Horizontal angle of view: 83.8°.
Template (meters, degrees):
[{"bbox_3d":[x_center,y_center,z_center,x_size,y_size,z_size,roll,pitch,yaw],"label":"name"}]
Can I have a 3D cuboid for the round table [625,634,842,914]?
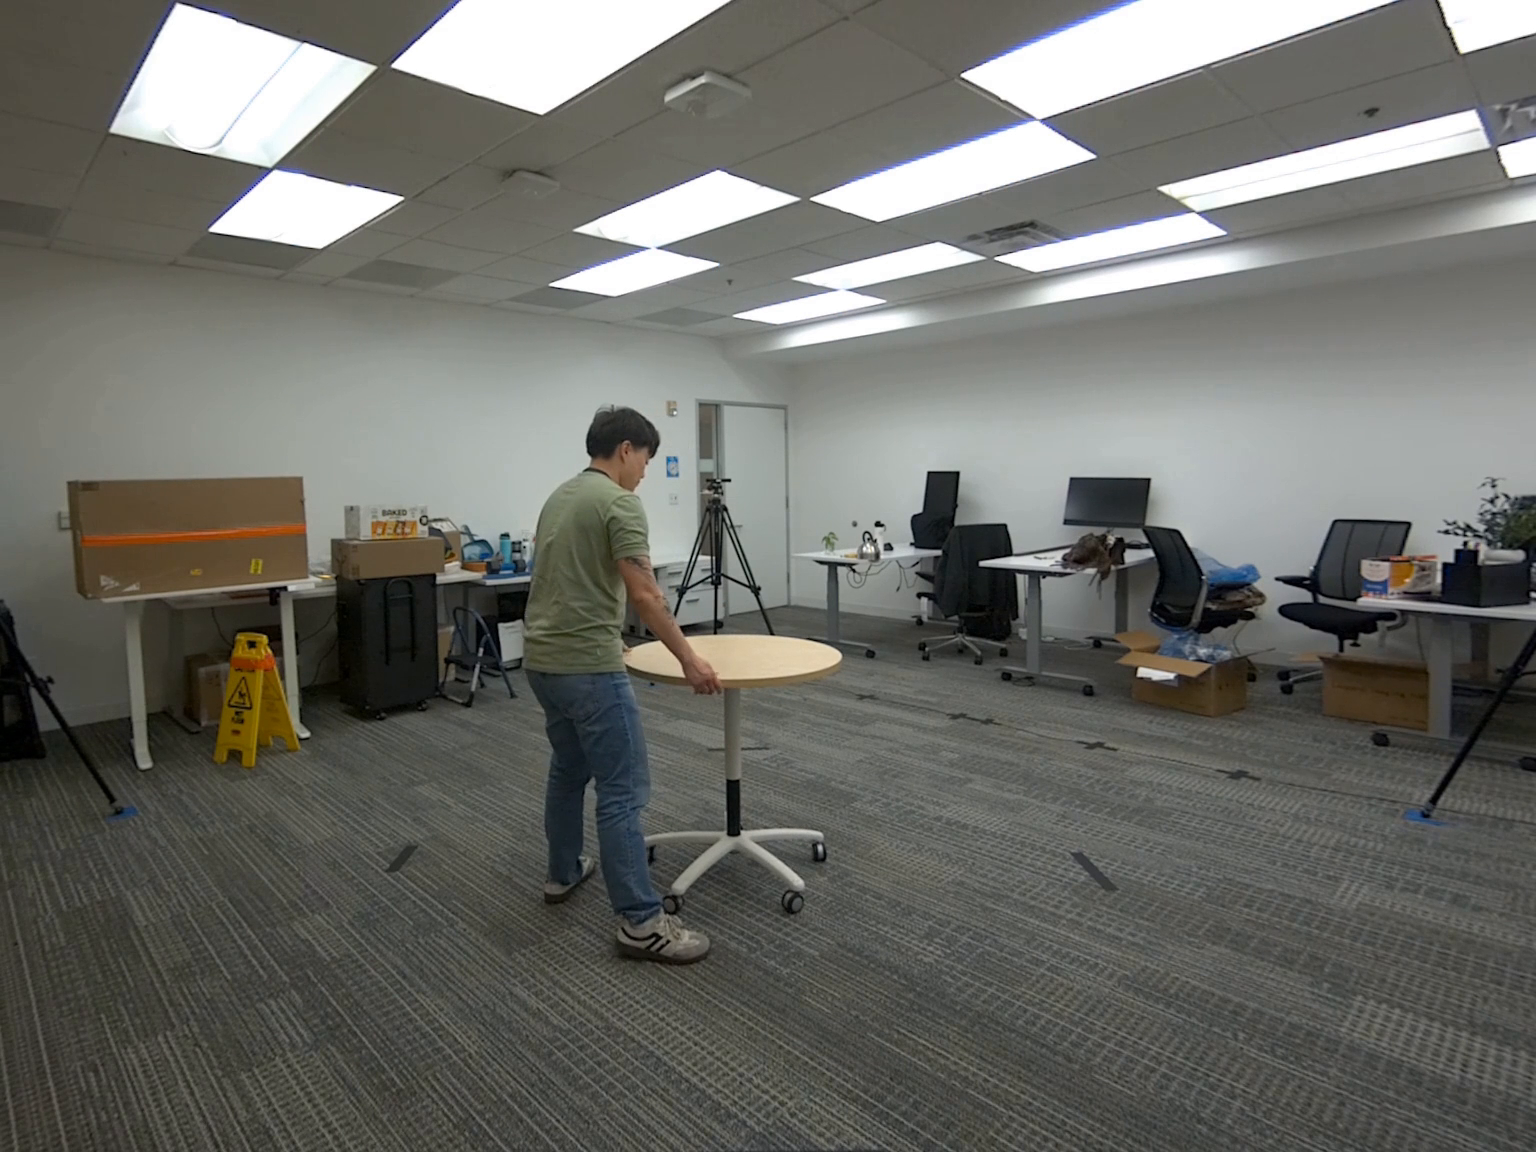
[{"bbox_3d":[-0.118,0.666,3.014,0.763,0.791,0.768,-1,5,-2],"label":"round table"}]
